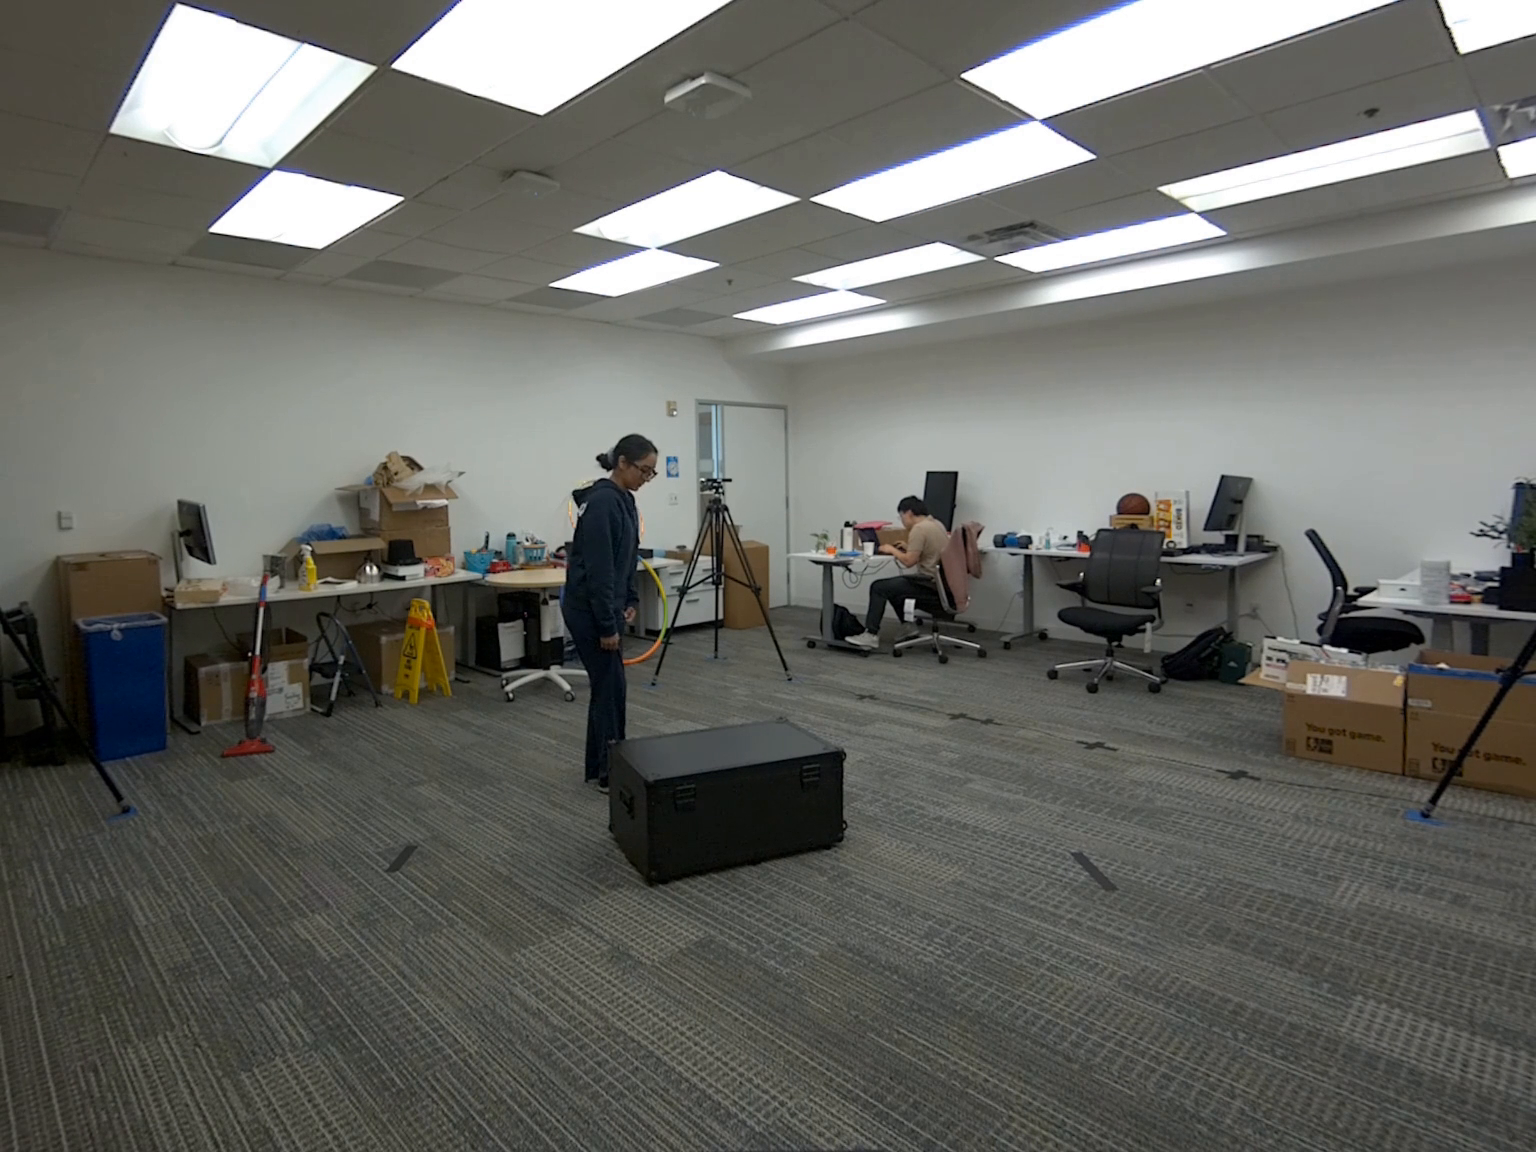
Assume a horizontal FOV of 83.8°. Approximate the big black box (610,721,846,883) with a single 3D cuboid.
[{"bbox_3d":[-0.144,0.852,3.307,0.843,0.519,0.407,-4,7,-27],"label":"big black box"}]
